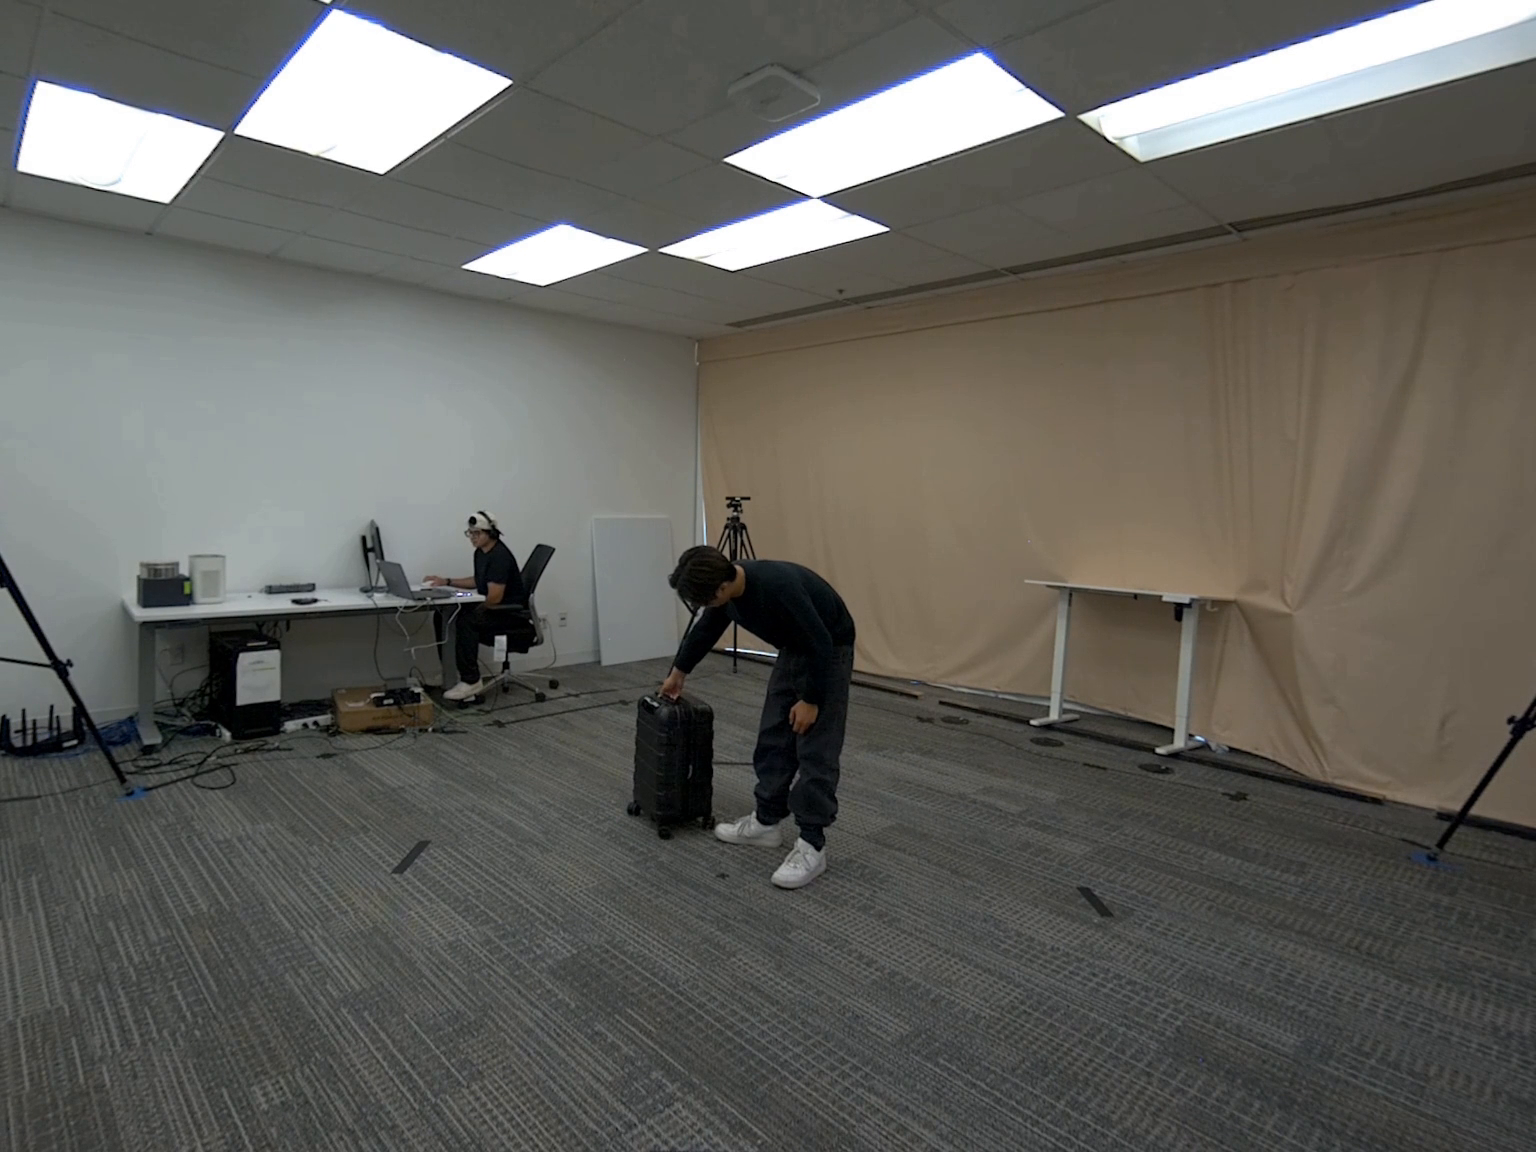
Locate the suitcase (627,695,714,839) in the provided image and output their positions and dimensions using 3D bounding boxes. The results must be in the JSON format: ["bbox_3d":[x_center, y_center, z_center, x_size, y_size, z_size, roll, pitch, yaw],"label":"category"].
[{"bbox_3d":[-0.418,0.779,3.616,0.243,0.548,0.384,1,4,-28],"label":"suitcase"}]
